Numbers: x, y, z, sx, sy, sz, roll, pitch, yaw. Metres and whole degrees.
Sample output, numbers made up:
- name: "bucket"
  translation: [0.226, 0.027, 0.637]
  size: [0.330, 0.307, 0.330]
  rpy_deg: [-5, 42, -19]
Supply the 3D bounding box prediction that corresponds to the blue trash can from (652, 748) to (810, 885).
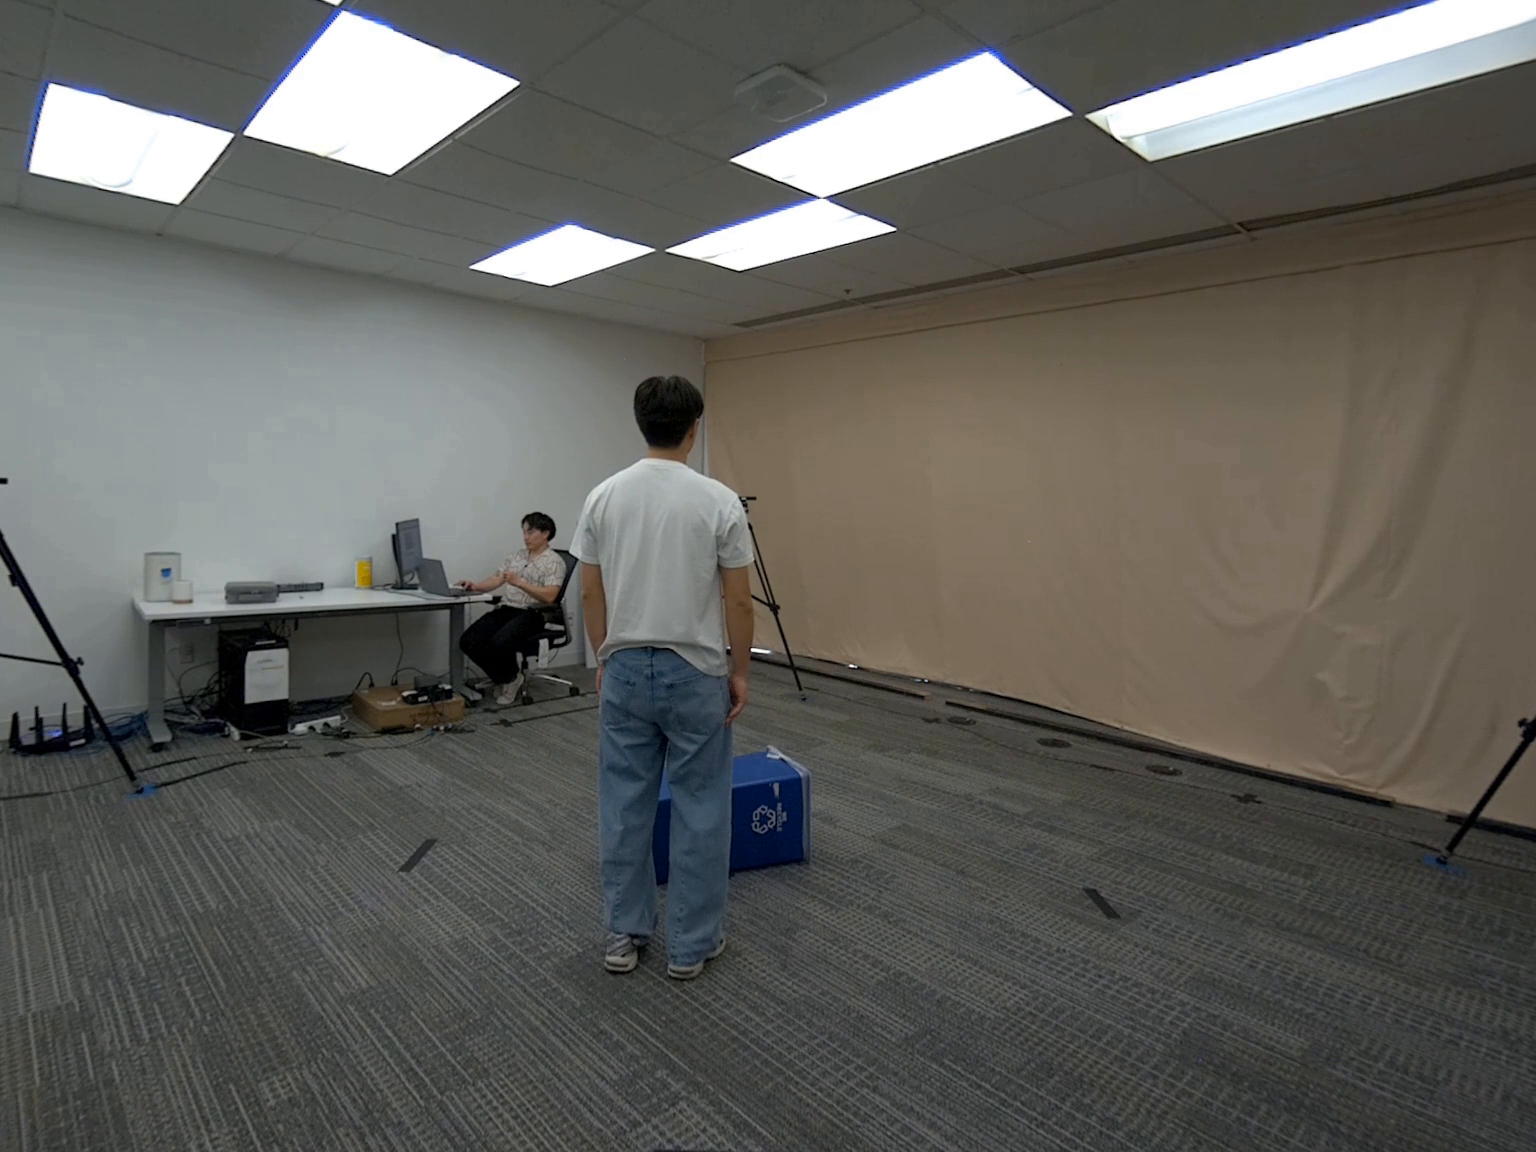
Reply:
- name: "blue trash can"
  translation: [-0.239, 0.928, 3.236]
  size: [0.702, 0.372, 0.385]
  rpy_deg: [-4, 6, -23]
